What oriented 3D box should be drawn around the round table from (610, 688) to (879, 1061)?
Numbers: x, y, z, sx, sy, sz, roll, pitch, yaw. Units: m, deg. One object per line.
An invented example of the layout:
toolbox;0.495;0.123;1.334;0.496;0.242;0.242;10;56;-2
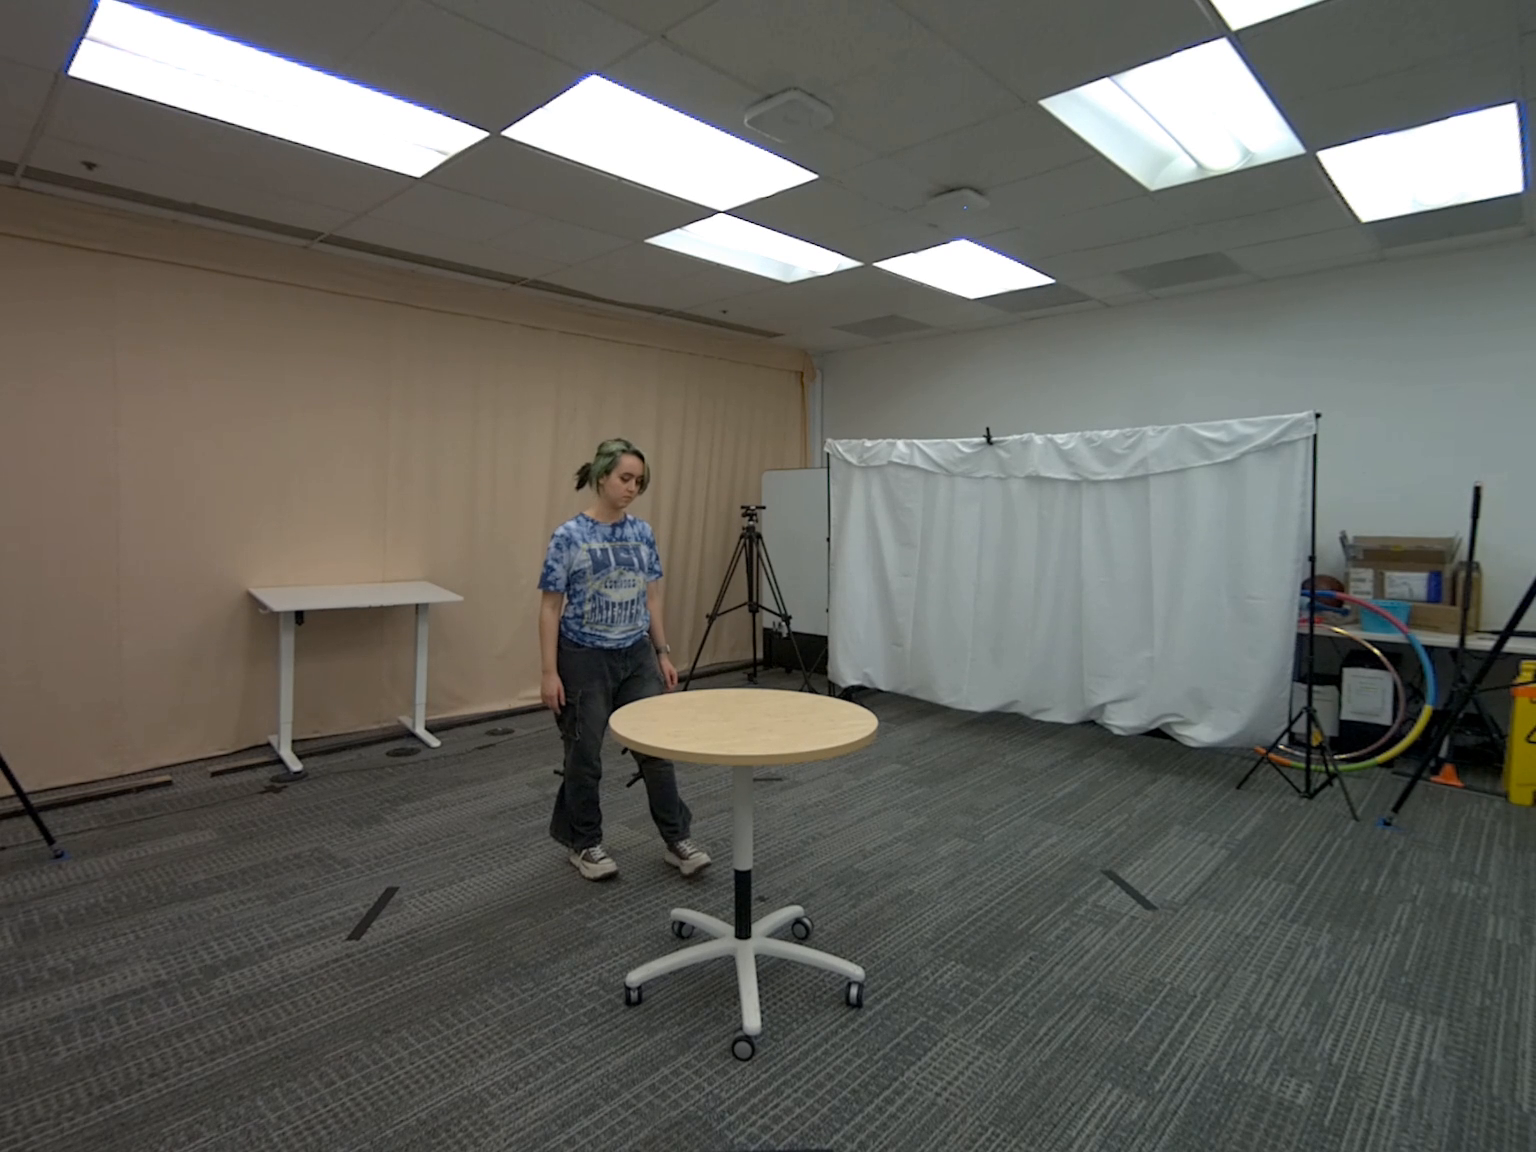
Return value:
round table;-0.068;0.802;2.444;0.763;0.792;0.766;0;4;-2
